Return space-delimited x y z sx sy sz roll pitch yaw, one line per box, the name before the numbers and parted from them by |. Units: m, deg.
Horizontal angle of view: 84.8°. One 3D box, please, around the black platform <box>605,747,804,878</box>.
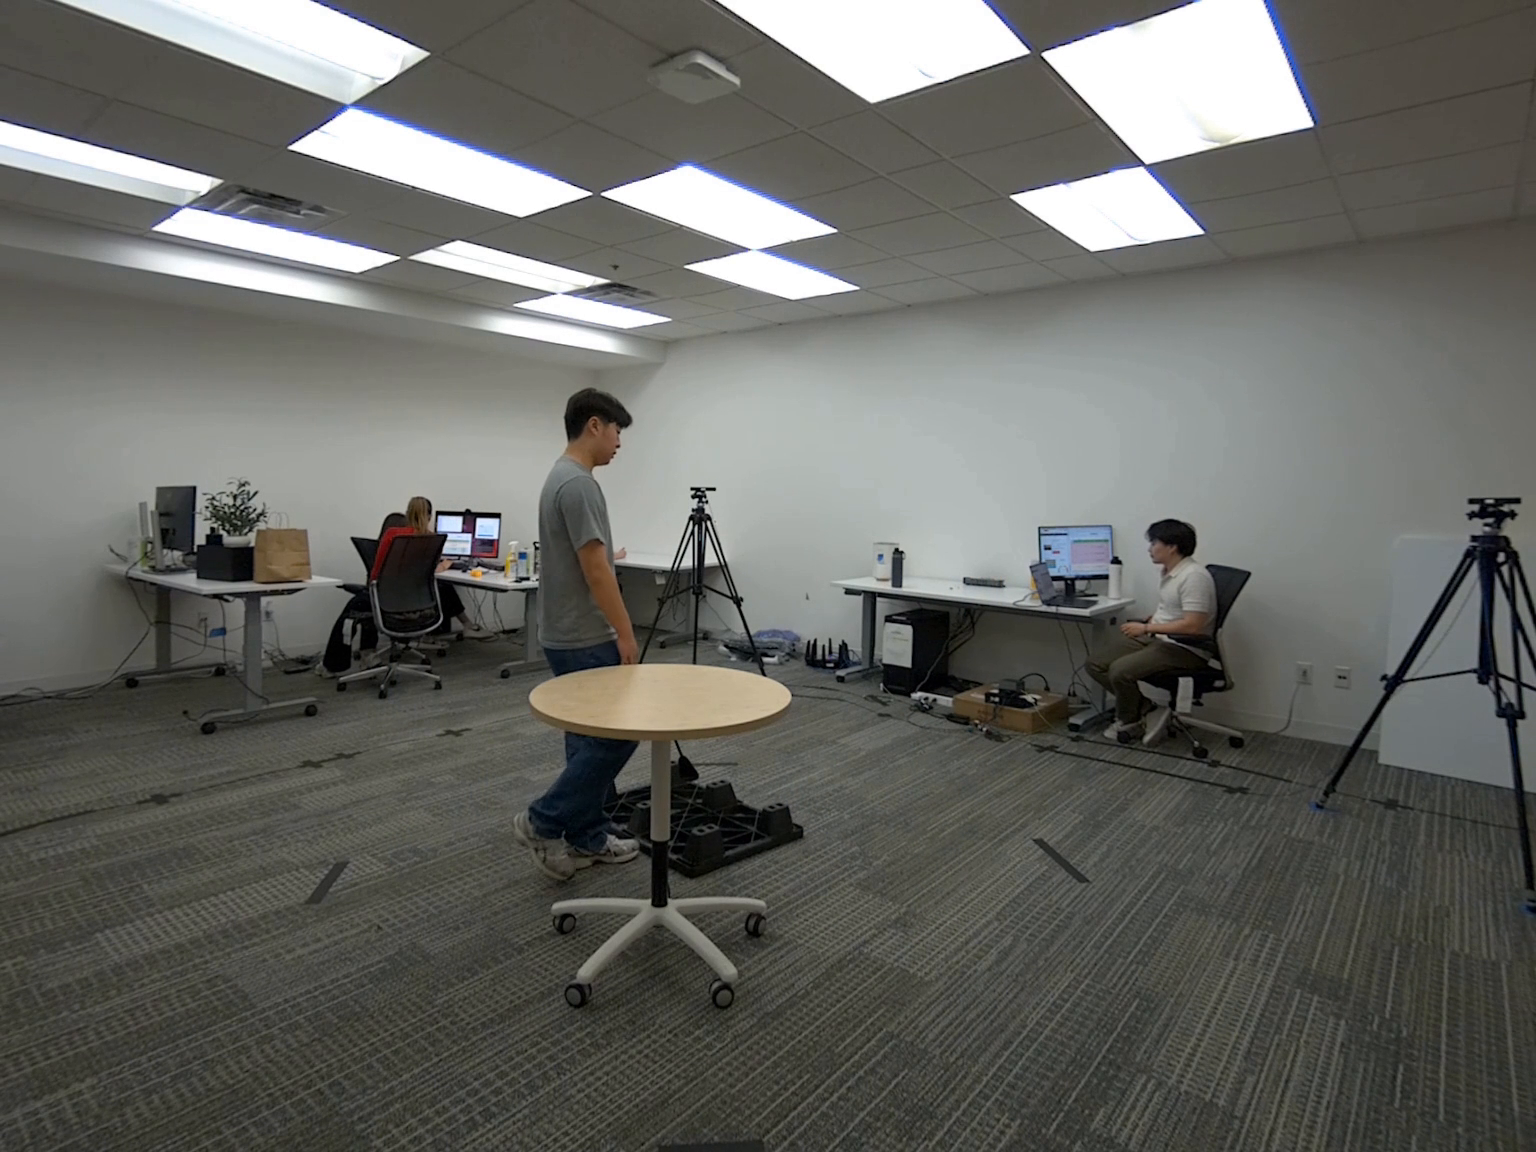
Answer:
black platform | -0.354 0.960 3.506 0.587 0.143 0.833 -4 7 -44
